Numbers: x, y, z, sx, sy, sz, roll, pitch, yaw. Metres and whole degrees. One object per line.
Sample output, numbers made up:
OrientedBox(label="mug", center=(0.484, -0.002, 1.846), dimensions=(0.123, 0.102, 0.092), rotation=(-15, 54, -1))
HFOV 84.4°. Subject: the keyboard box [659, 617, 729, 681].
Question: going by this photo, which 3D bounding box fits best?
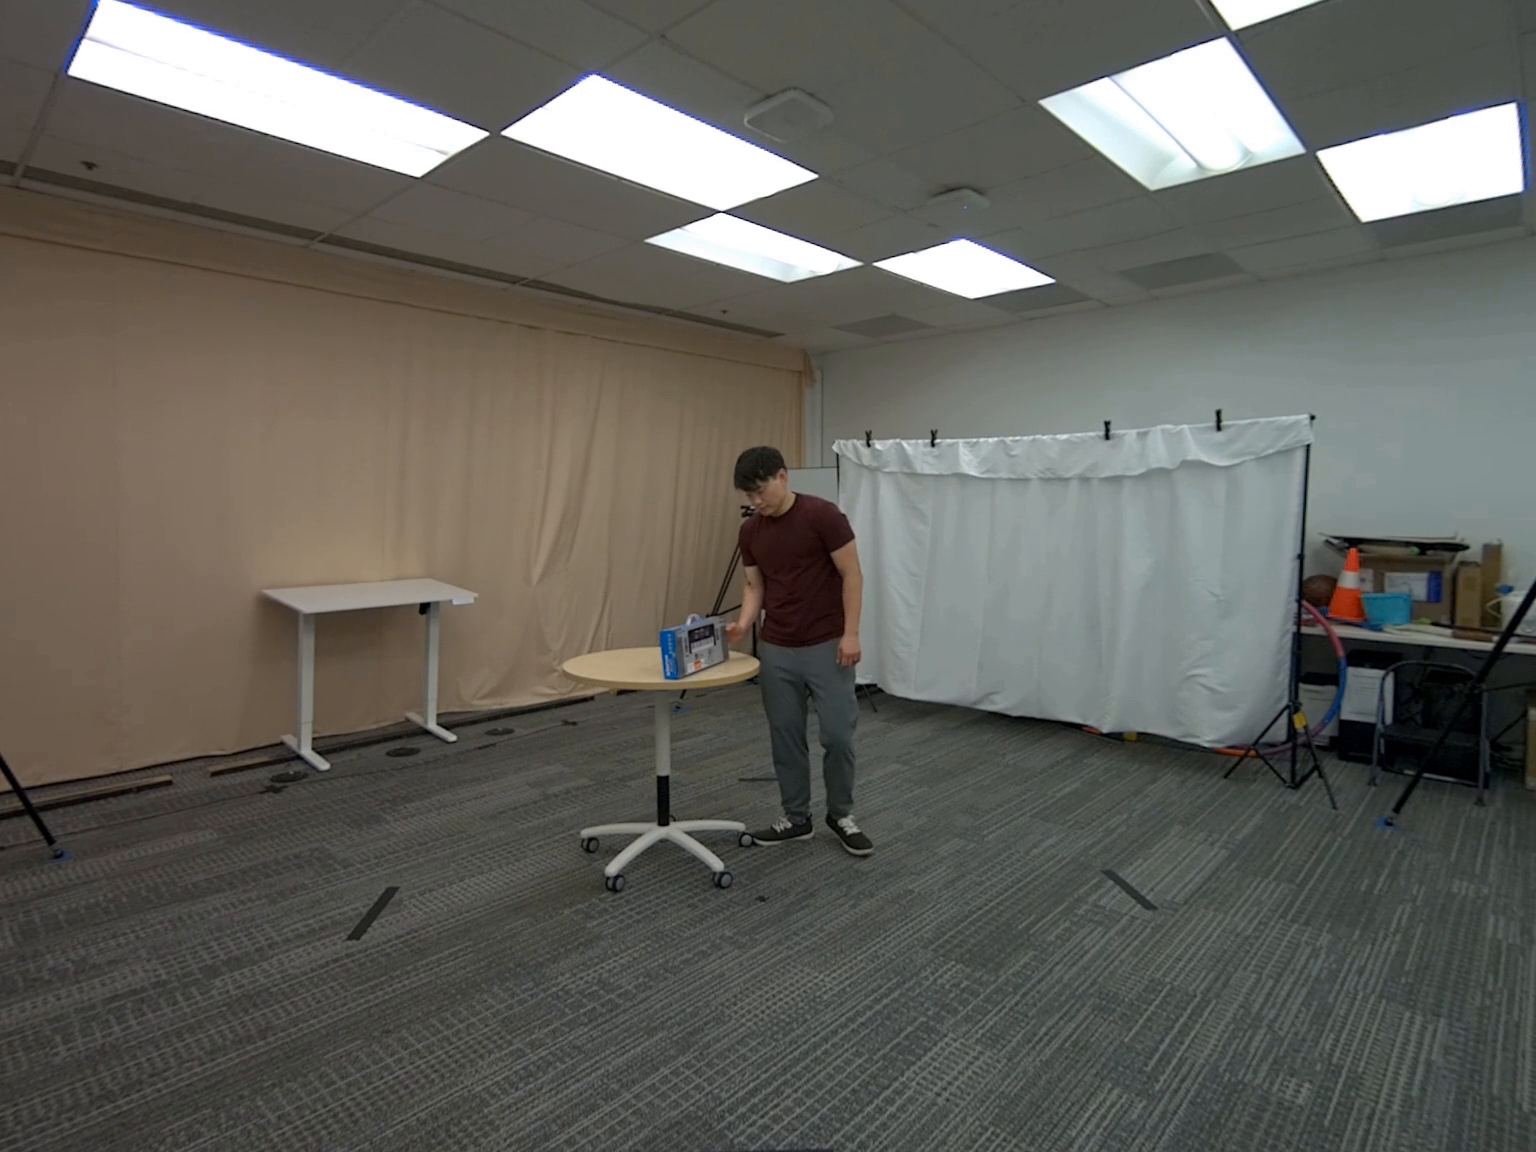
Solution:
OrientedBox(label="keyboard box", center=(-0.263, 0.262, 3.143), dimensions=(0.060, 0.176, 0.427), rotation=(-5, 2, 23))
